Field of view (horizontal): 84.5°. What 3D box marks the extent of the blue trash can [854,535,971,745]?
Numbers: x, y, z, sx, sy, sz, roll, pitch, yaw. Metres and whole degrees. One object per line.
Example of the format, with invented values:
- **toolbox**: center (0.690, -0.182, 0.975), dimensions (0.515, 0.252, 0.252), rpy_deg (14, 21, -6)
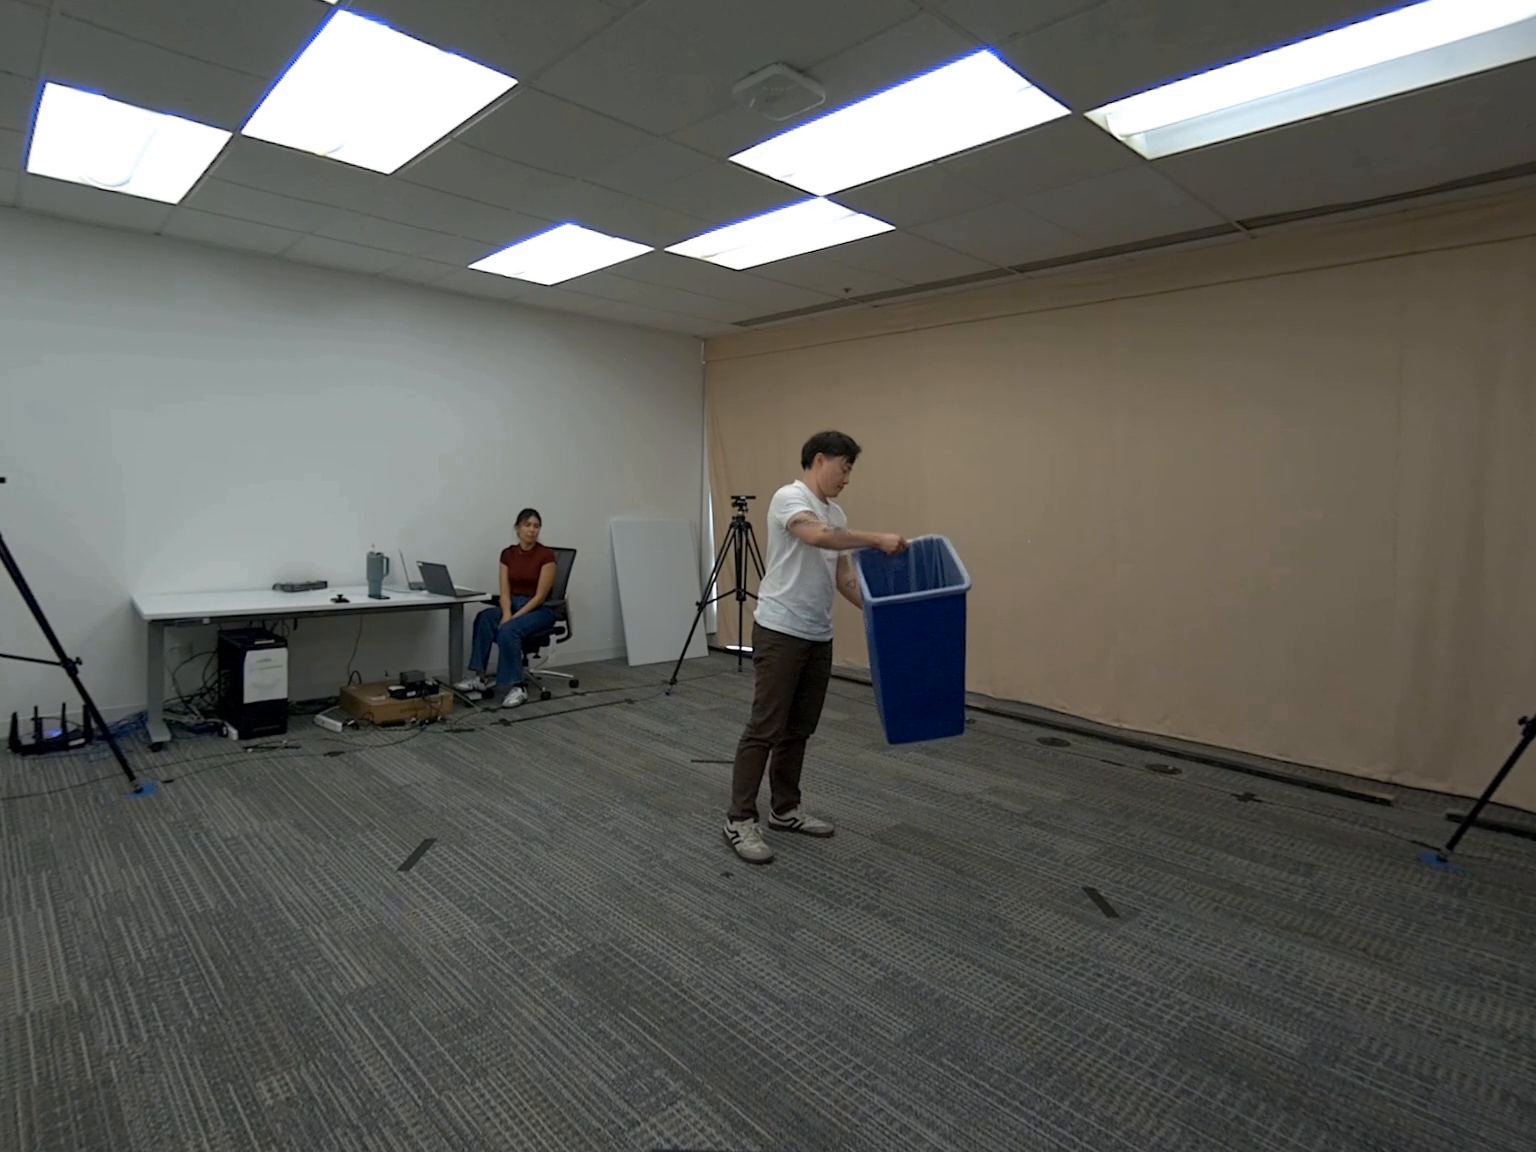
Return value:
- **blue trash can**: center (0.541, 0.258, 3.229), dimensions (0.374, 0.698, 0.386), rpy_deg (-8, 30, 1)
